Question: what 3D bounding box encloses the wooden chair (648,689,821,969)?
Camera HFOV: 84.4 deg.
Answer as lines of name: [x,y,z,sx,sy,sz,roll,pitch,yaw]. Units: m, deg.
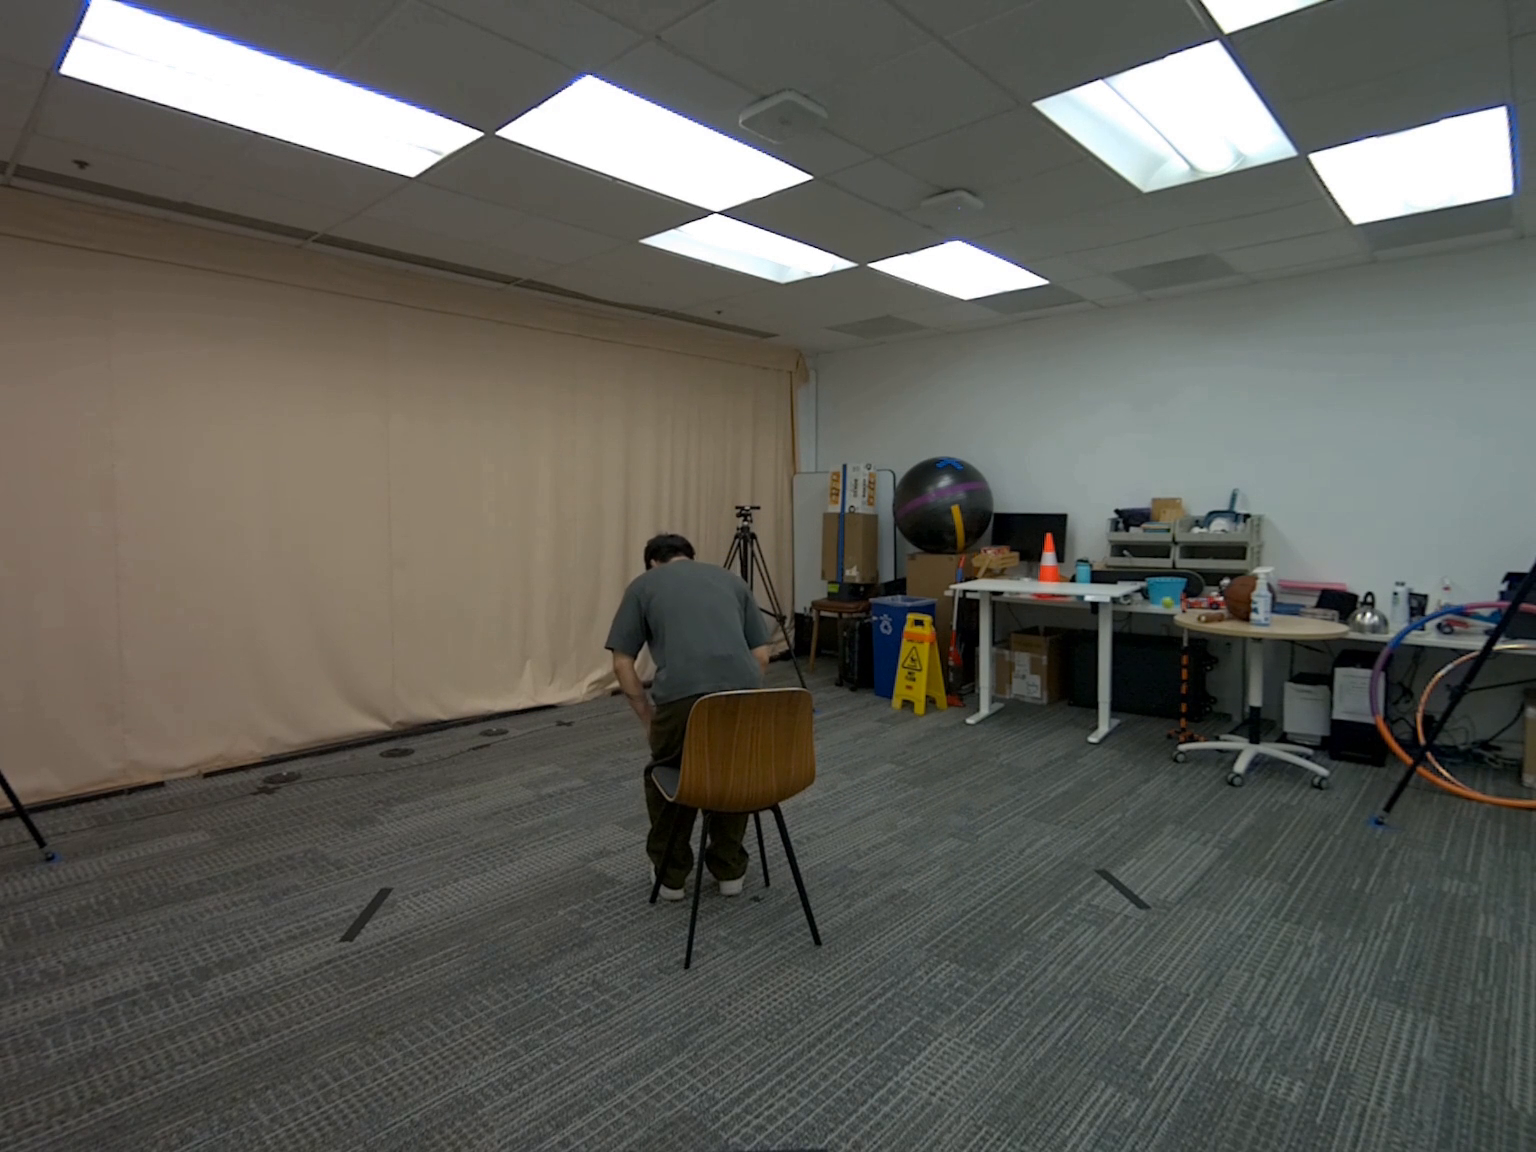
wooden chair: [-0.117,0.732,2.785,0.469,0.874,0.535,-2,7,-20]
